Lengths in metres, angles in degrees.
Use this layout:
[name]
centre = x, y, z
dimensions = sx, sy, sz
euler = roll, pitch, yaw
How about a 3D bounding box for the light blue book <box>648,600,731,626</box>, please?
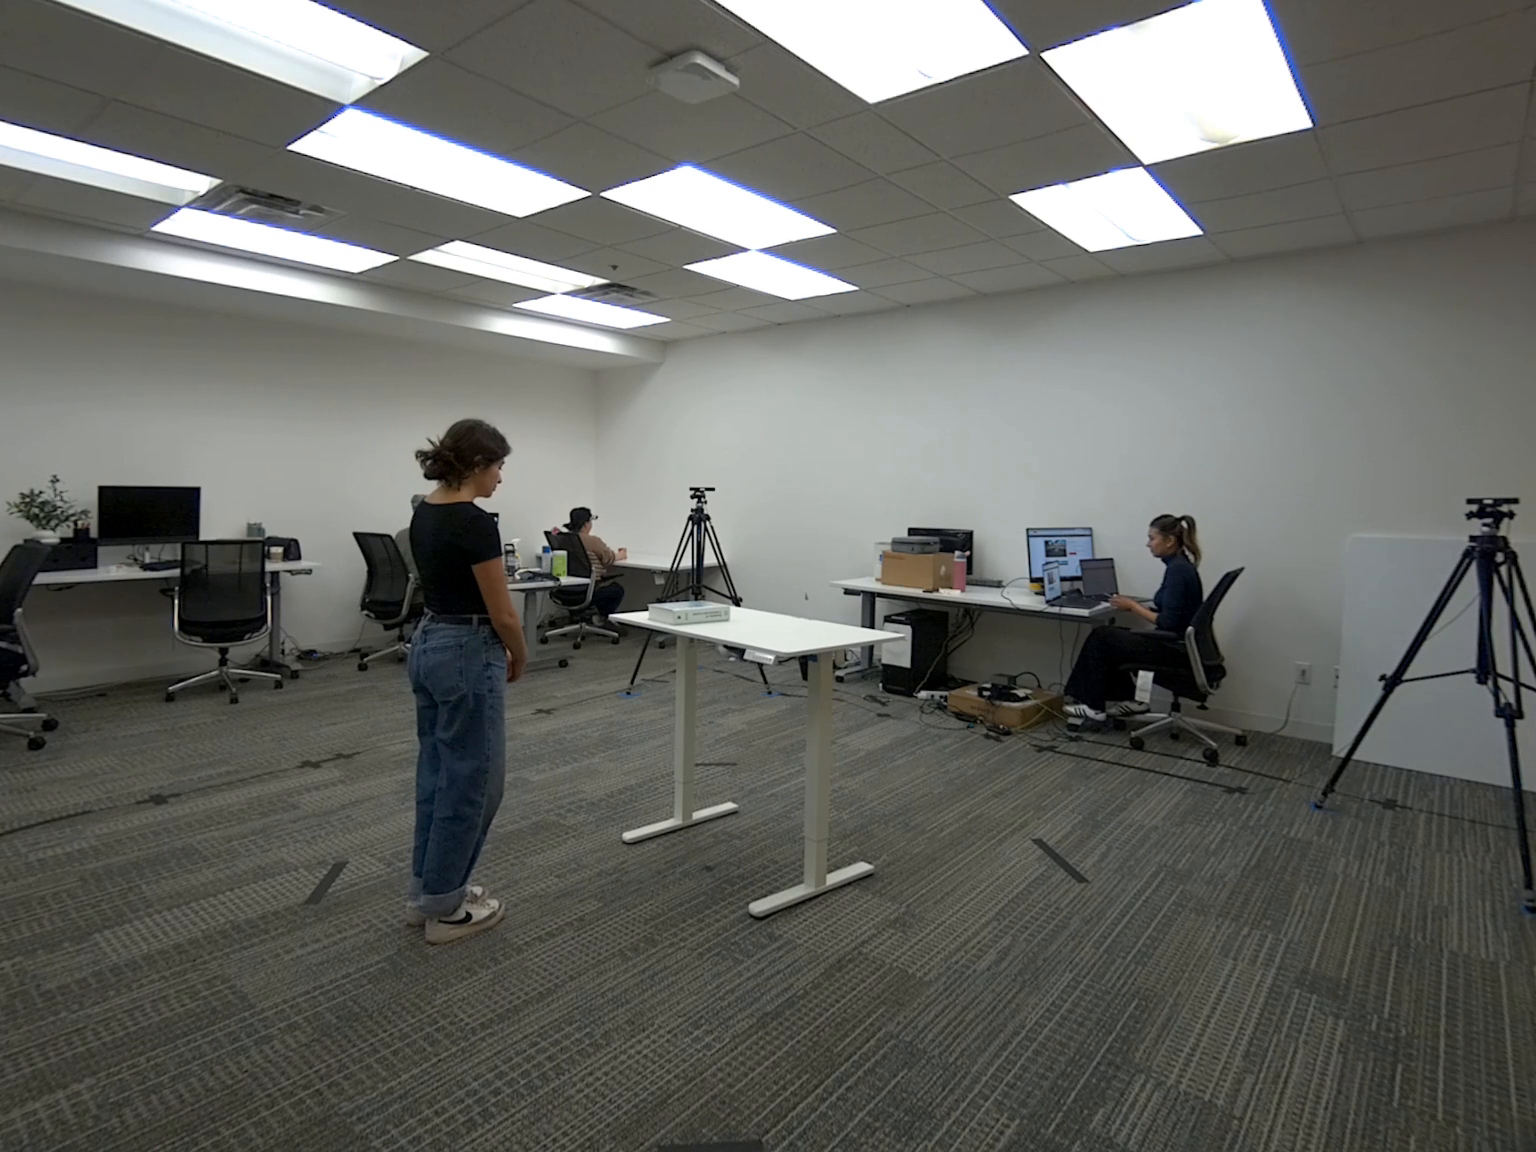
[light blue book]
centre = -0.318, 0.137, 3.279
dimensions = 0.253, 0.059, 0.198
euler = -4, 6, -38
